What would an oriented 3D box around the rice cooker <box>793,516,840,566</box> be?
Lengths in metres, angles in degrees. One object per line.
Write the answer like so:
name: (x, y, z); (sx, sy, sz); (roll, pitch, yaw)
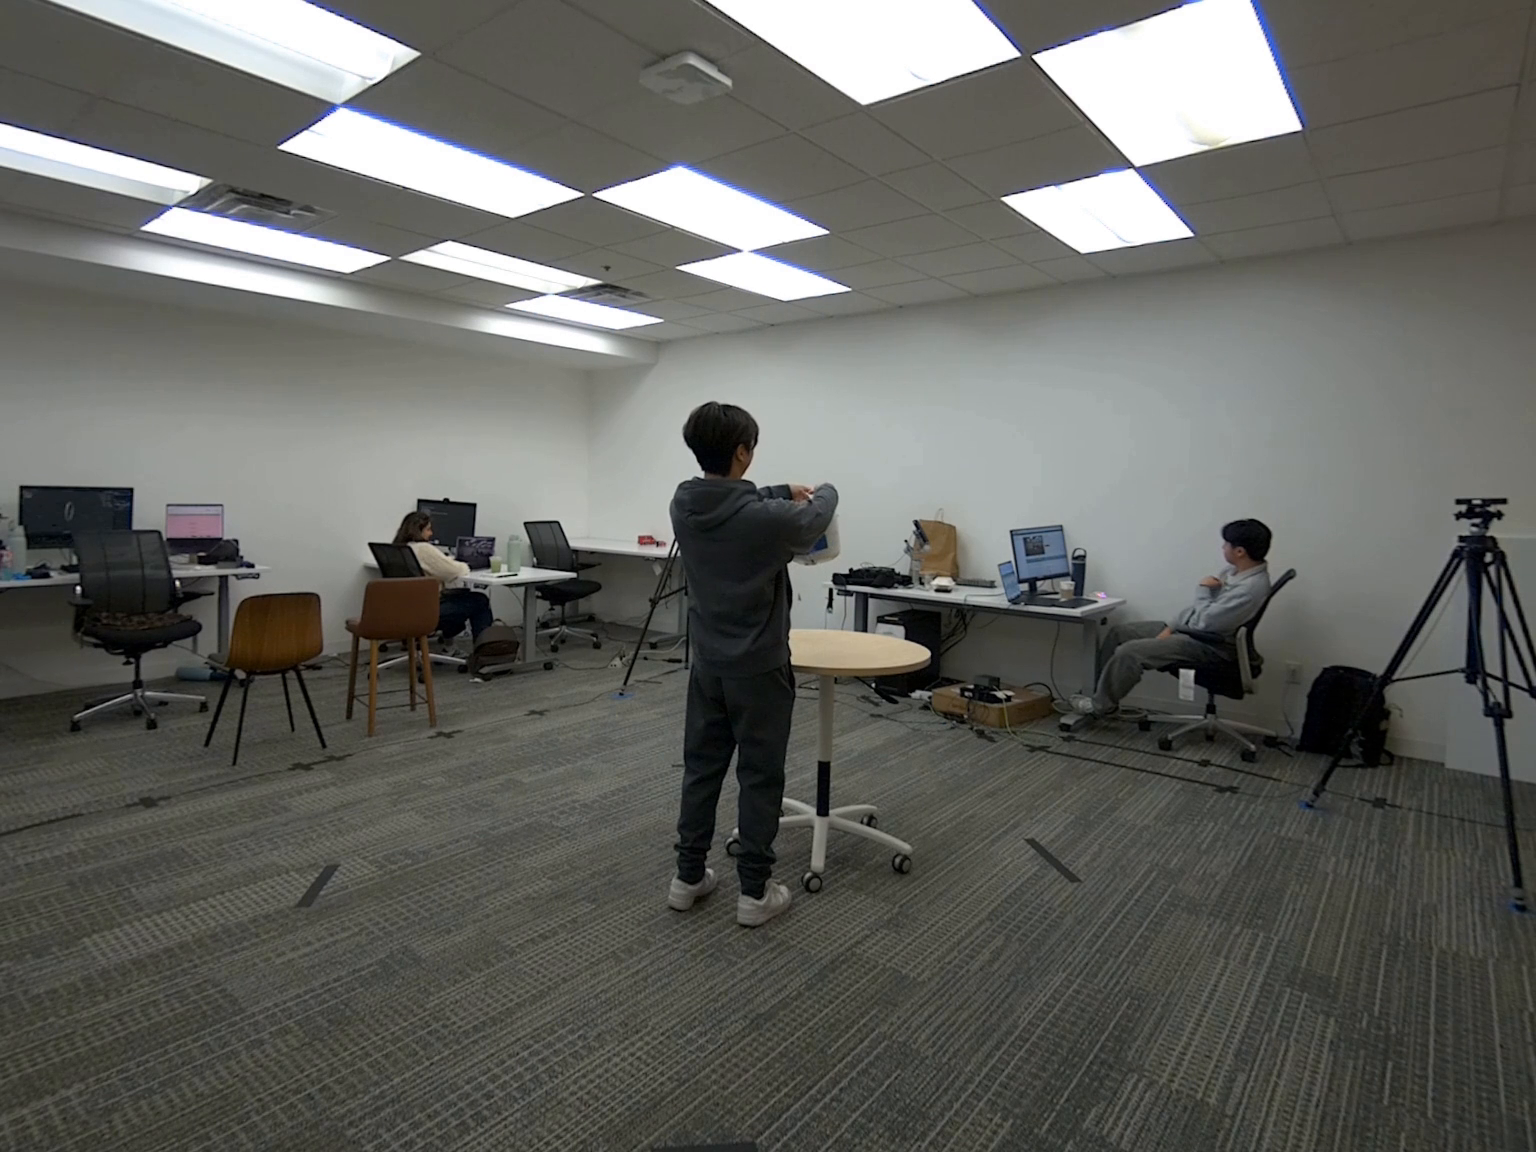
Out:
rice cooker: (0.154, -0.178, 3.223); (0.216, 0.229, 0.225); (-14, 17, -26)
